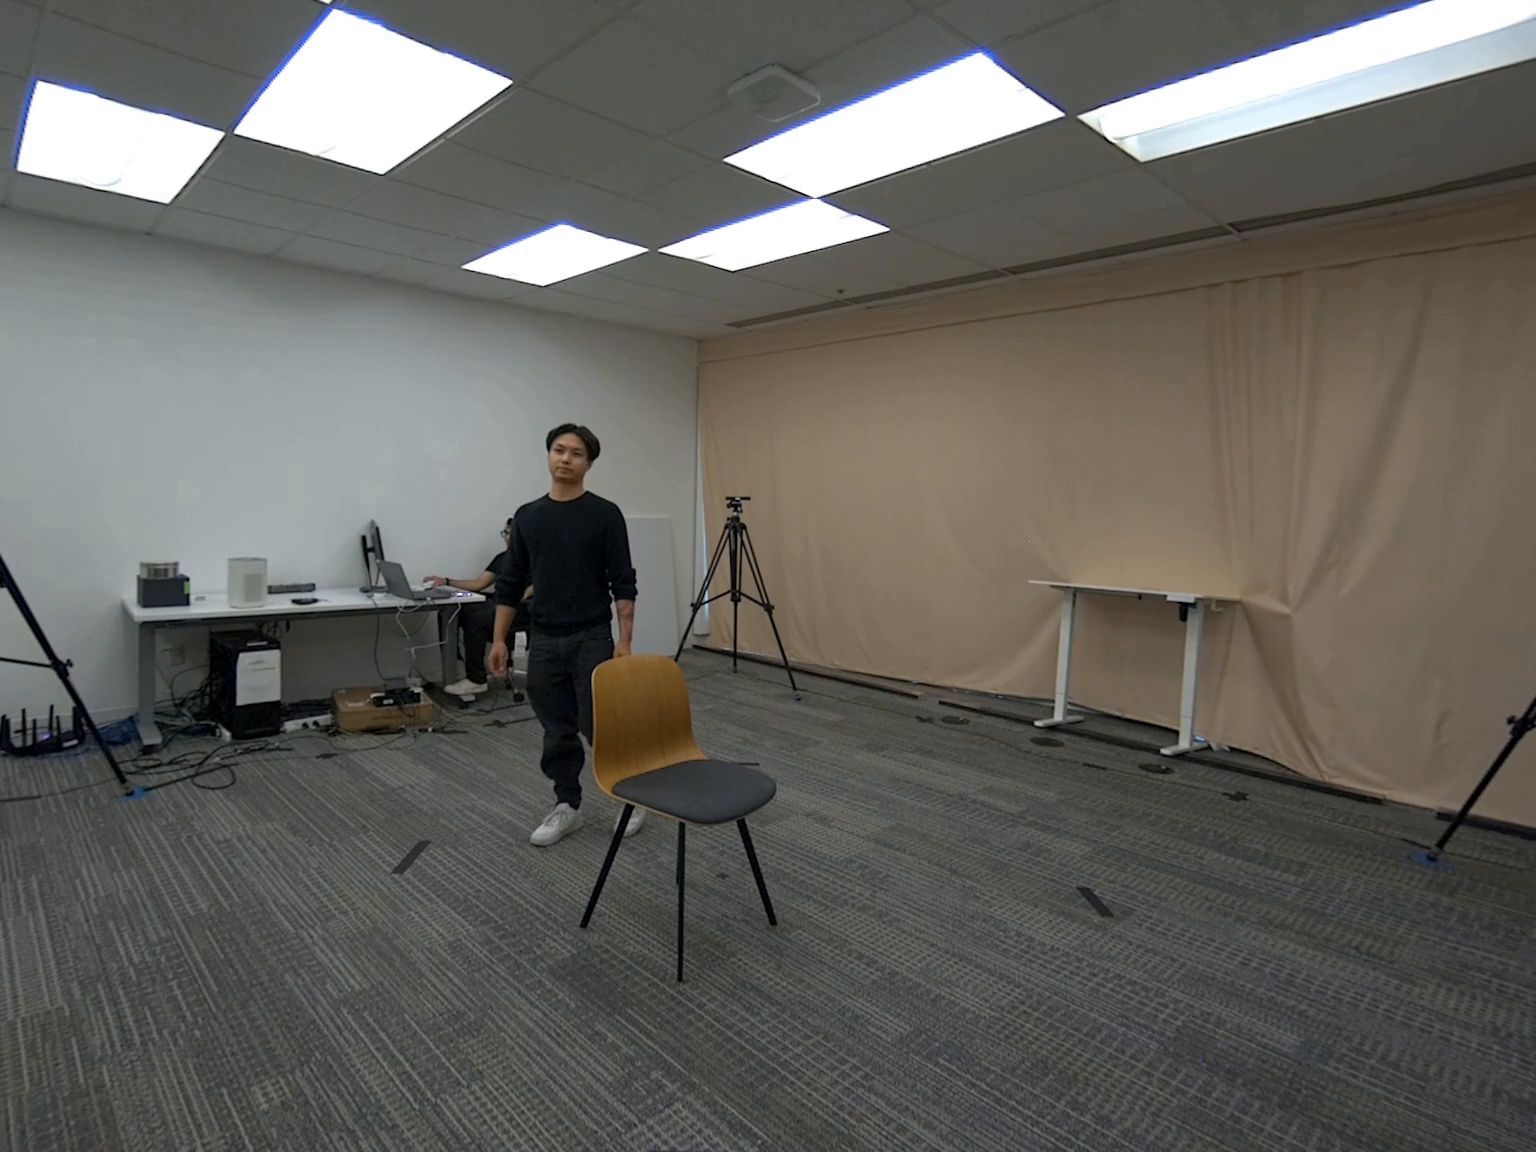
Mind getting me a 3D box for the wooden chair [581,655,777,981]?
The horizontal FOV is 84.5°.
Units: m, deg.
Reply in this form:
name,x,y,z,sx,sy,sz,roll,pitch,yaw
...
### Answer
name,x,y,z,sx,sy,sz,roll,pitch,yaw
wooden chair,-0.275,0.712,2.693,0.535,0.877,0.467,-2,0,40
